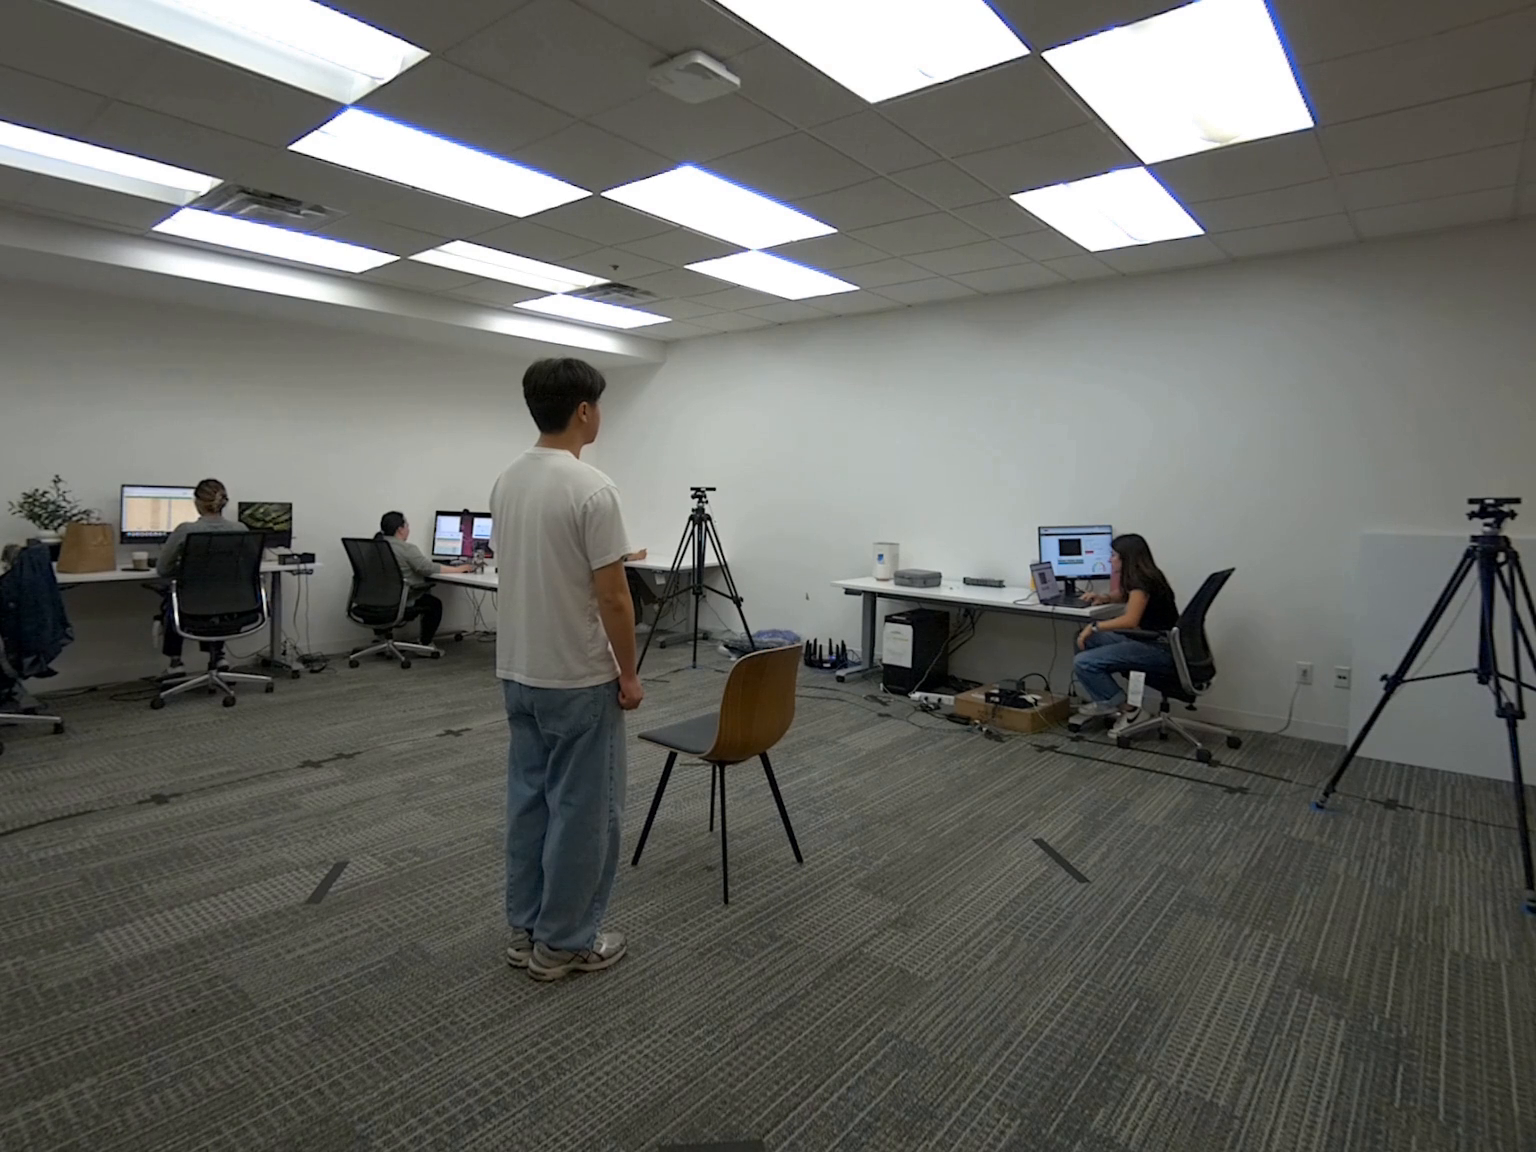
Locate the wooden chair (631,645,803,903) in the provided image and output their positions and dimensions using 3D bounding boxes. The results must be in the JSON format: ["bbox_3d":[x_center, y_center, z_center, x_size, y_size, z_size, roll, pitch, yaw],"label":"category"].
[{"bbox_3d":[-0.192,0.637,3.129,0.542,0.873,0.464,9,7,38],"label":"wooden chair"}]
